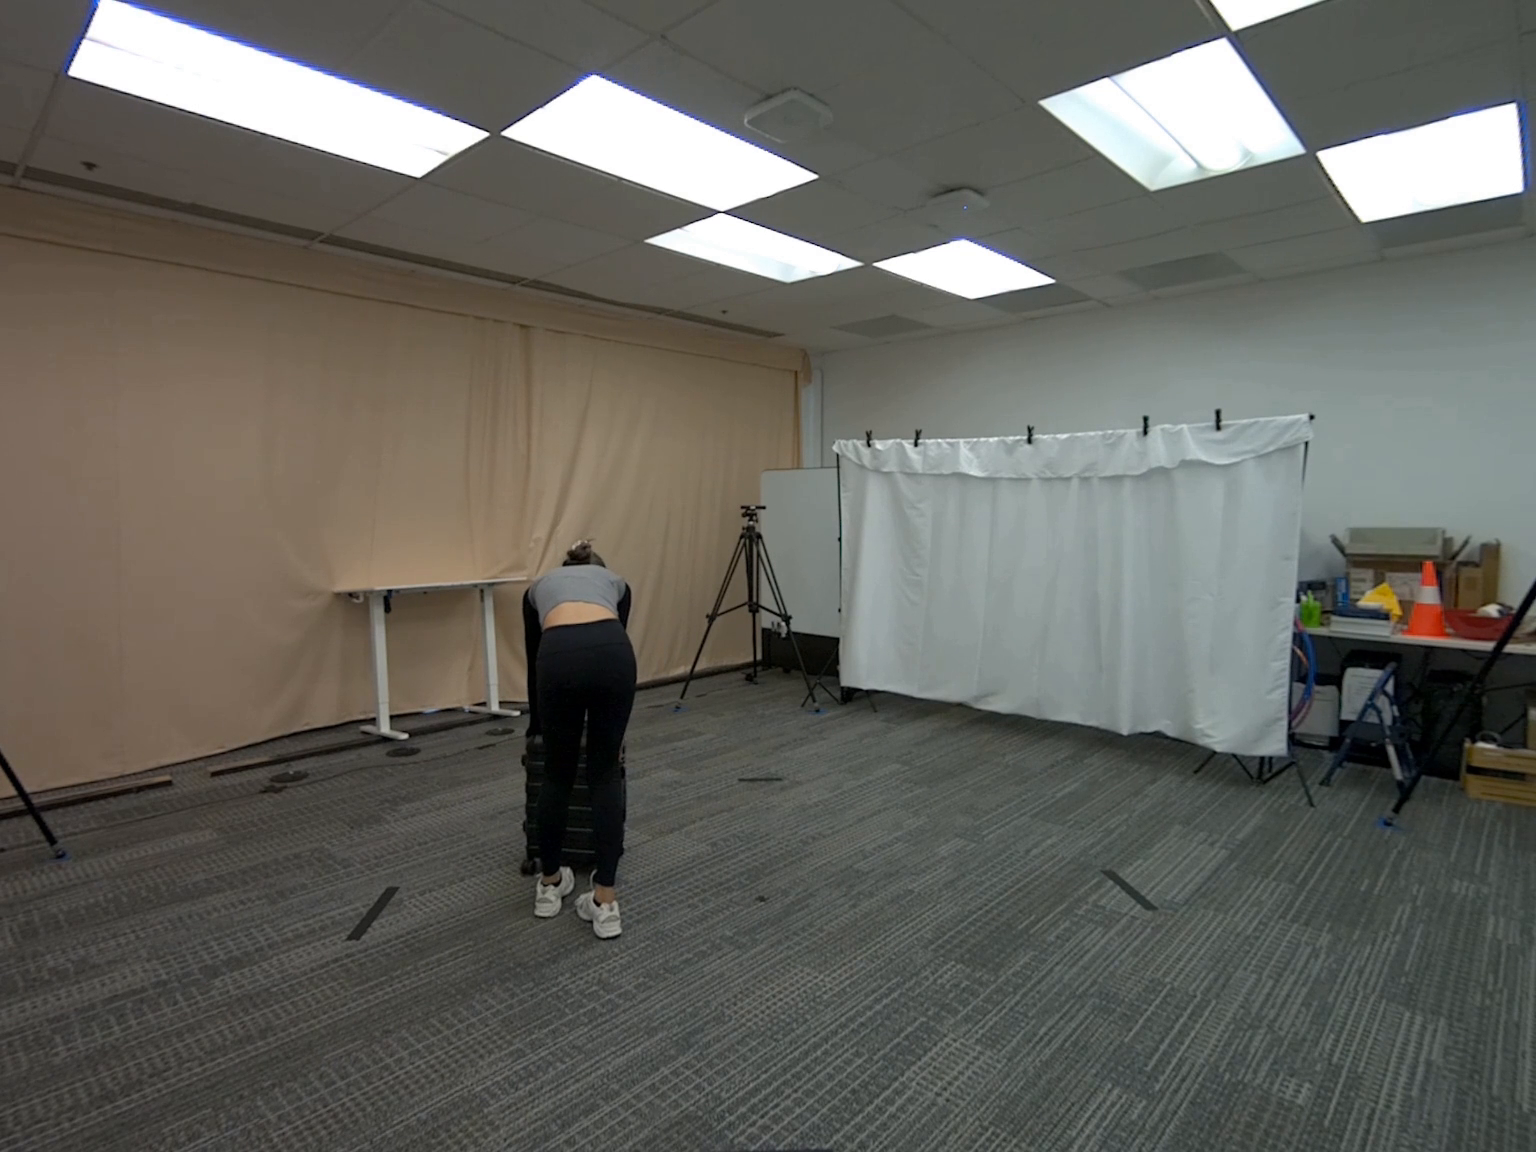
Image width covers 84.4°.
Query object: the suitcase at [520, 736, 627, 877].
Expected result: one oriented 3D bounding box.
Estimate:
[{"bbox_3d":[-0.752,0.852,3.280,0.380,0.549,0.245,1,1,10],"label":"suitcase"}]
